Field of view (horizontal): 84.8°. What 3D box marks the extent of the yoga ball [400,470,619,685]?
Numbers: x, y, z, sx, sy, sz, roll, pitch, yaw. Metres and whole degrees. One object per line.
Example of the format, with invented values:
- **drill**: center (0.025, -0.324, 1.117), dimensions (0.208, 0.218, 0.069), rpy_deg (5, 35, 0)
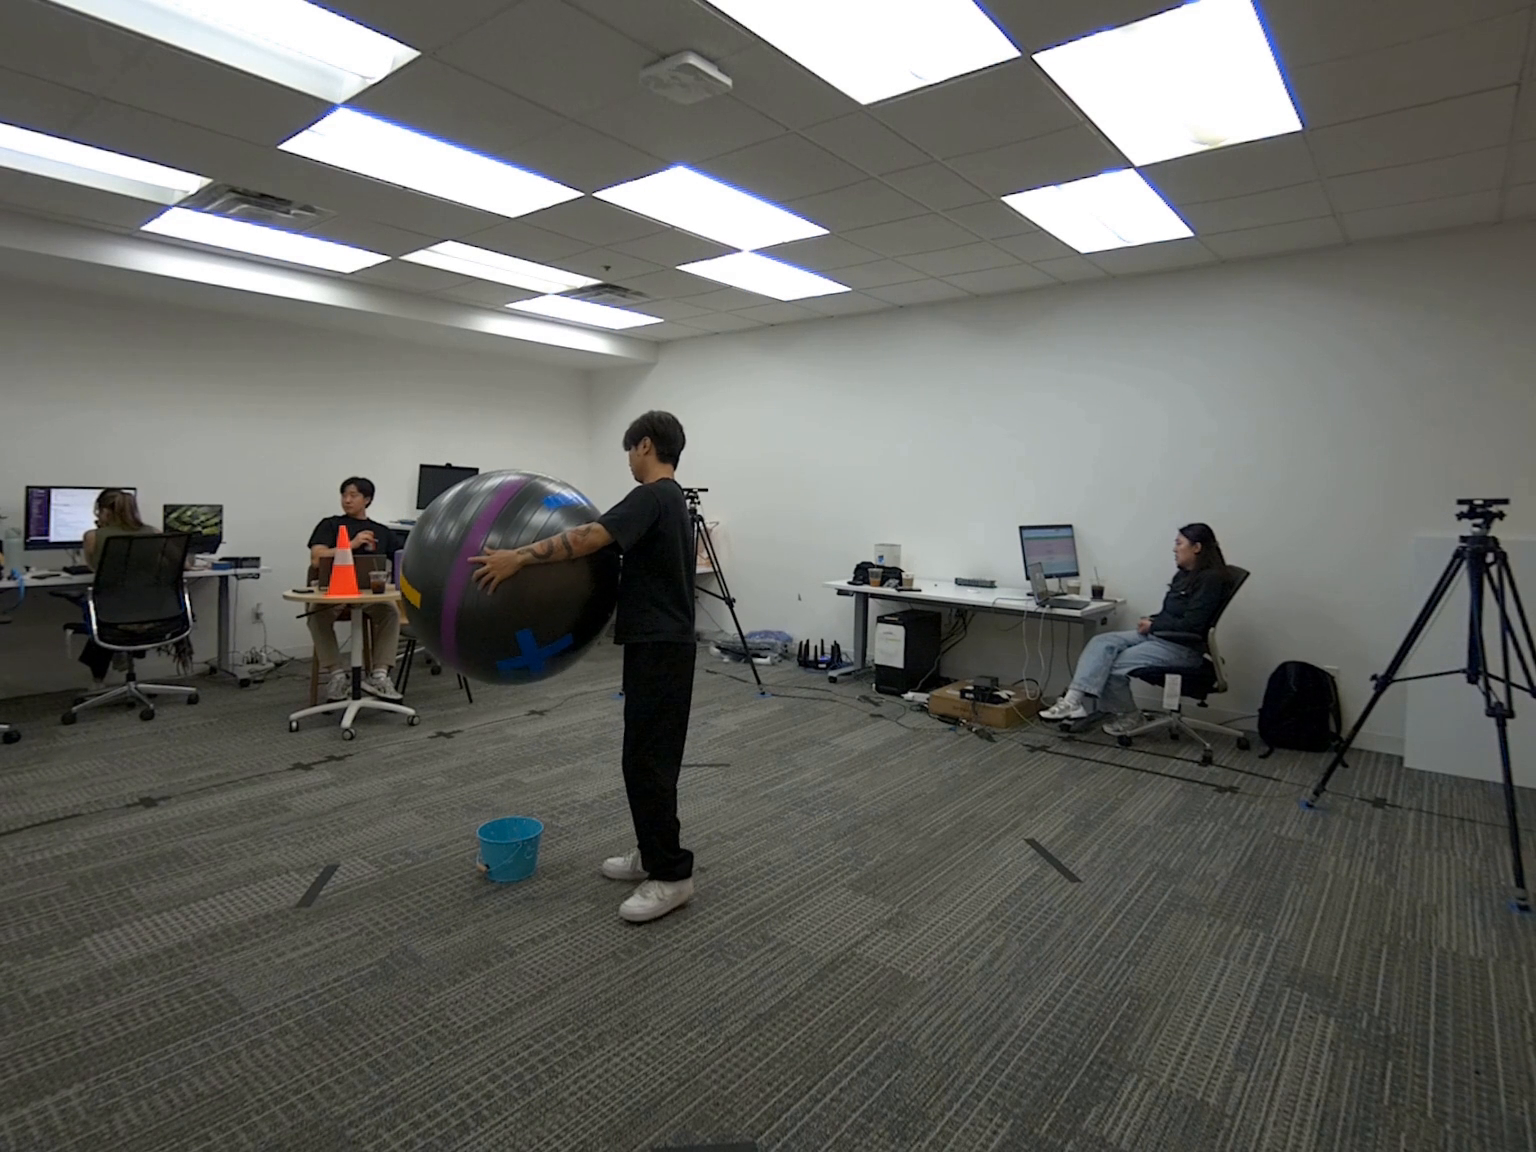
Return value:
- **yoga ball**: center (-0.922, 0.003, 3.006), dimensions (0.757, 0.756, 0.762), rpy_deg (1, 4, -2)
